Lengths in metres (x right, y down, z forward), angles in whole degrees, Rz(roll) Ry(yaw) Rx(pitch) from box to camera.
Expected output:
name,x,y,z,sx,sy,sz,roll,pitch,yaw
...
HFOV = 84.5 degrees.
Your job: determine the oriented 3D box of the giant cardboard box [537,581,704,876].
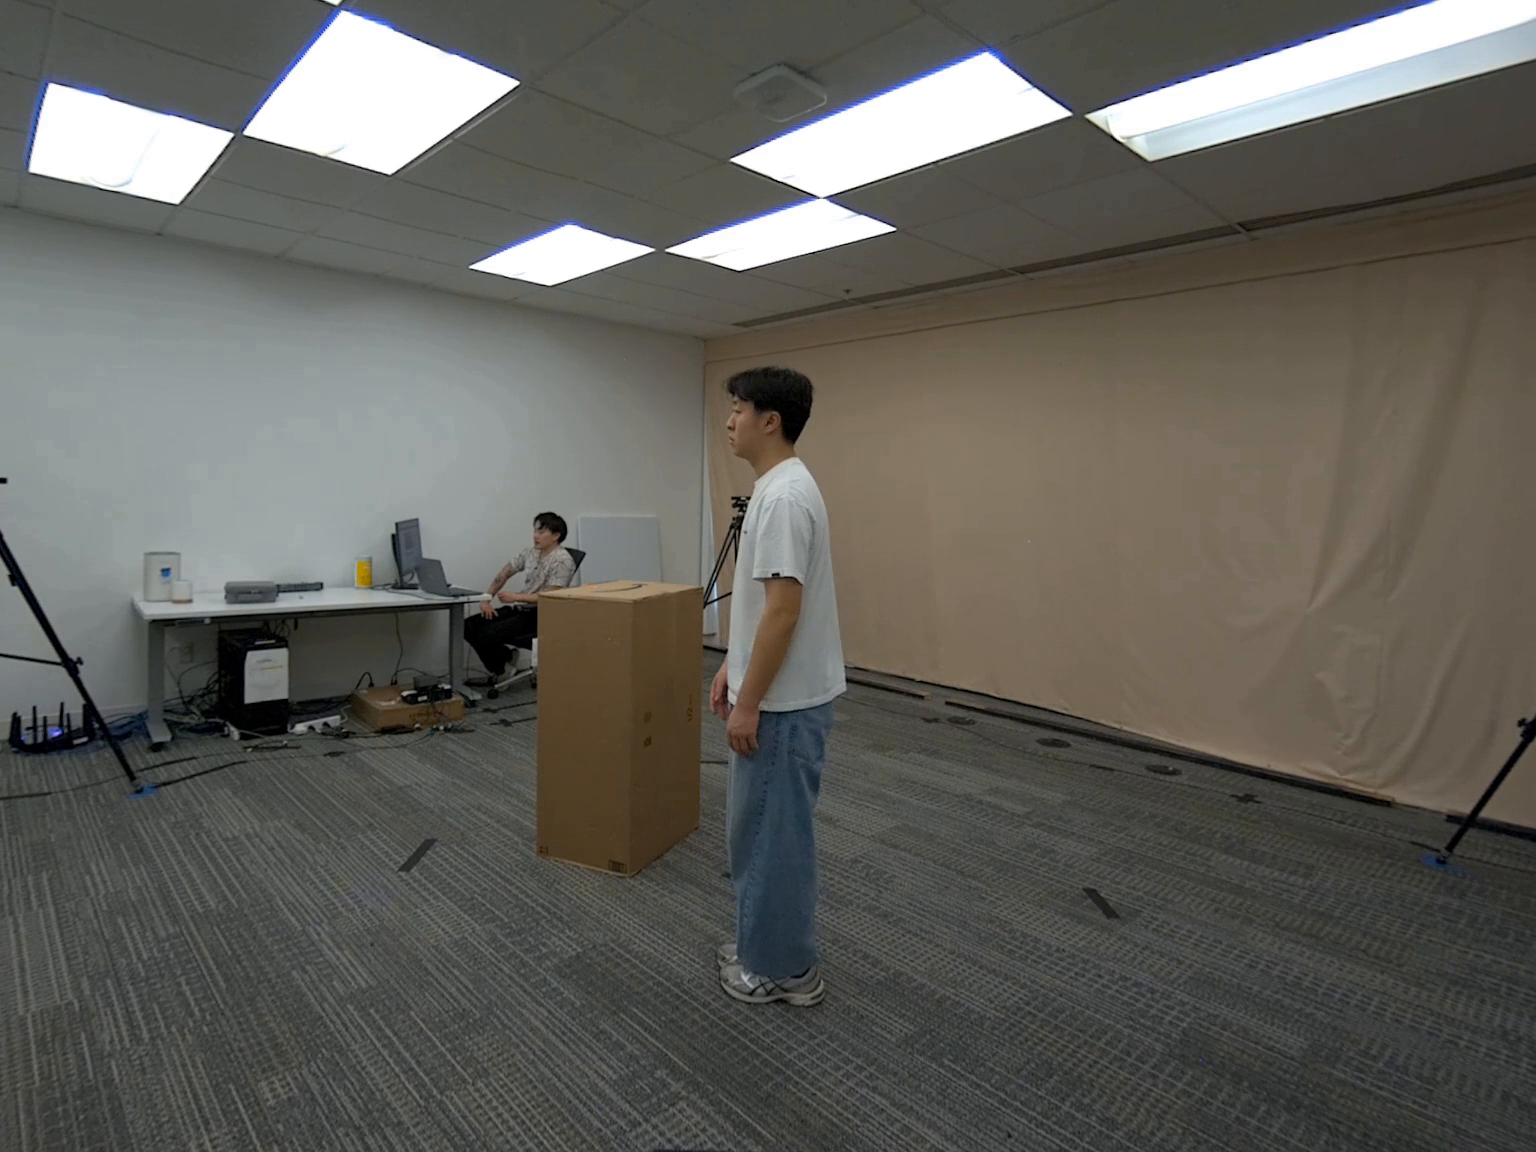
name,x,y,z,sx,sy,sz,roll,pitch,yaw
giant cardboard box,-0.589,0.562,3.373,0.434,1.023,0.568,3,4,24
